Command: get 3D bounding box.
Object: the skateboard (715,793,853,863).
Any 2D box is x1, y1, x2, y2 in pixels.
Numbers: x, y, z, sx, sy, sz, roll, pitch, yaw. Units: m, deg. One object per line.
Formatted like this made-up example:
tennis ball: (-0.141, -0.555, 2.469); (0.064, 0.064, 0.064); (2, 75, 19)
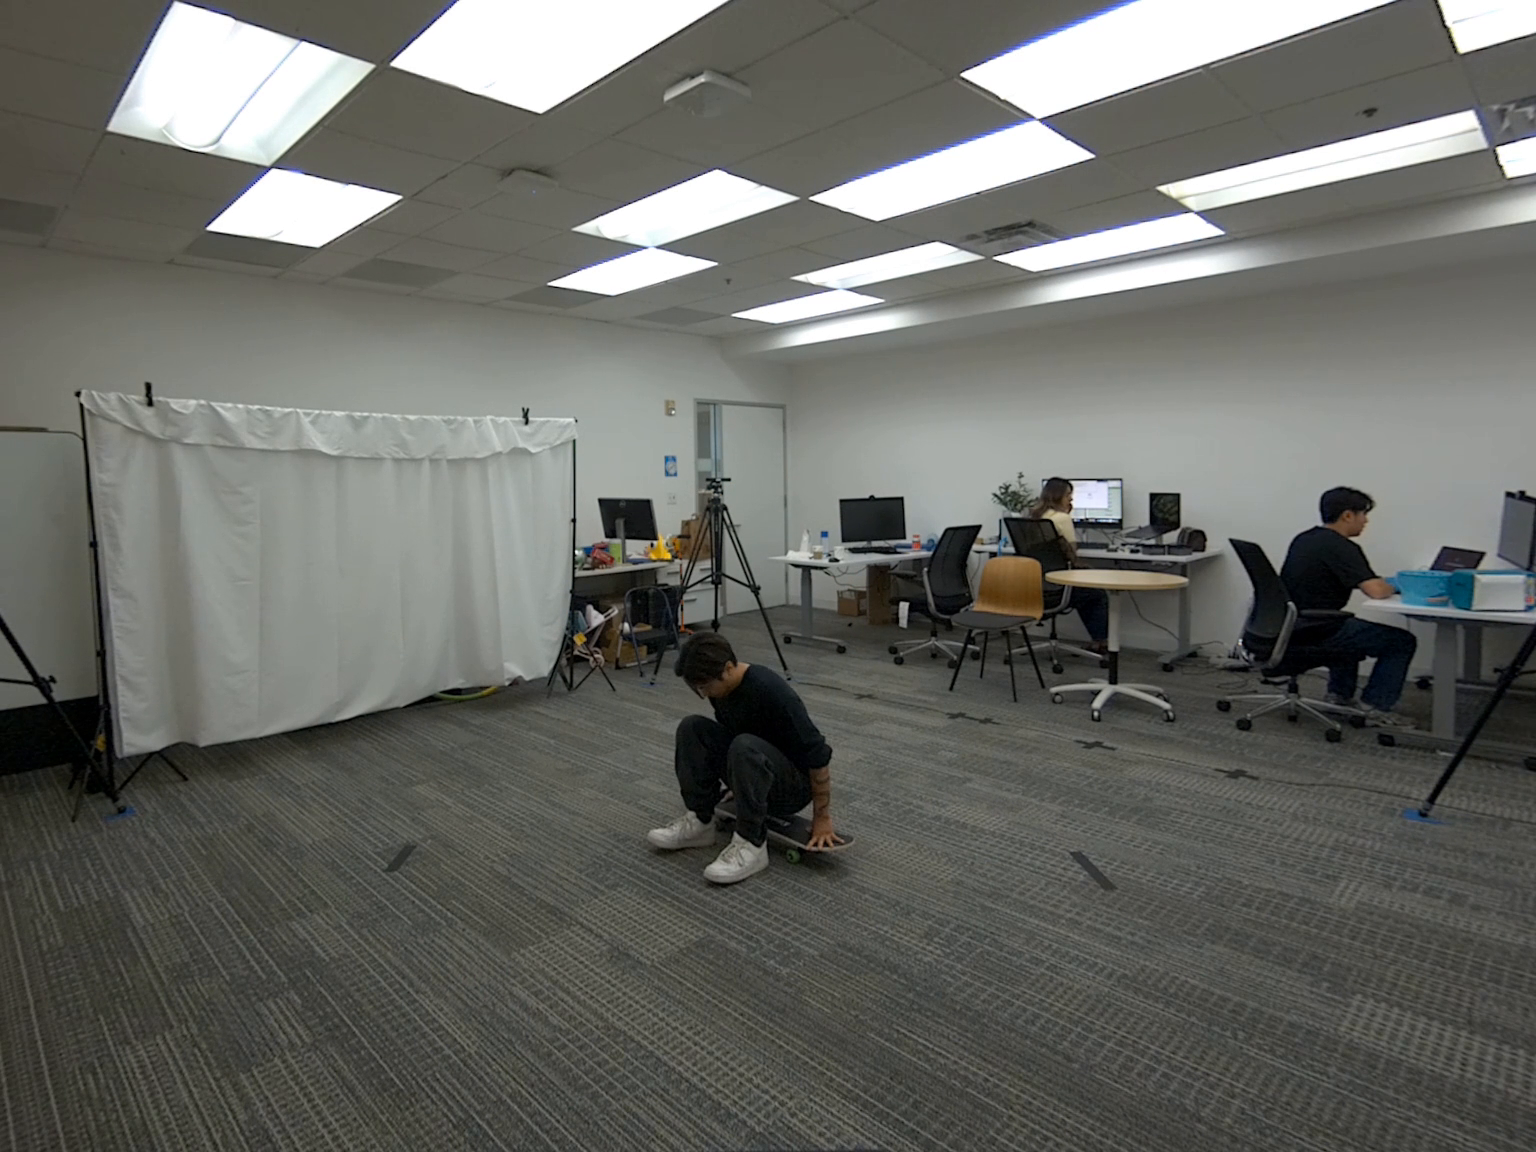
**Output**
skateboard: (0.005, 0.968, 3.296); (0.188, 0.110, 0.810); (-4, 7, -42)
